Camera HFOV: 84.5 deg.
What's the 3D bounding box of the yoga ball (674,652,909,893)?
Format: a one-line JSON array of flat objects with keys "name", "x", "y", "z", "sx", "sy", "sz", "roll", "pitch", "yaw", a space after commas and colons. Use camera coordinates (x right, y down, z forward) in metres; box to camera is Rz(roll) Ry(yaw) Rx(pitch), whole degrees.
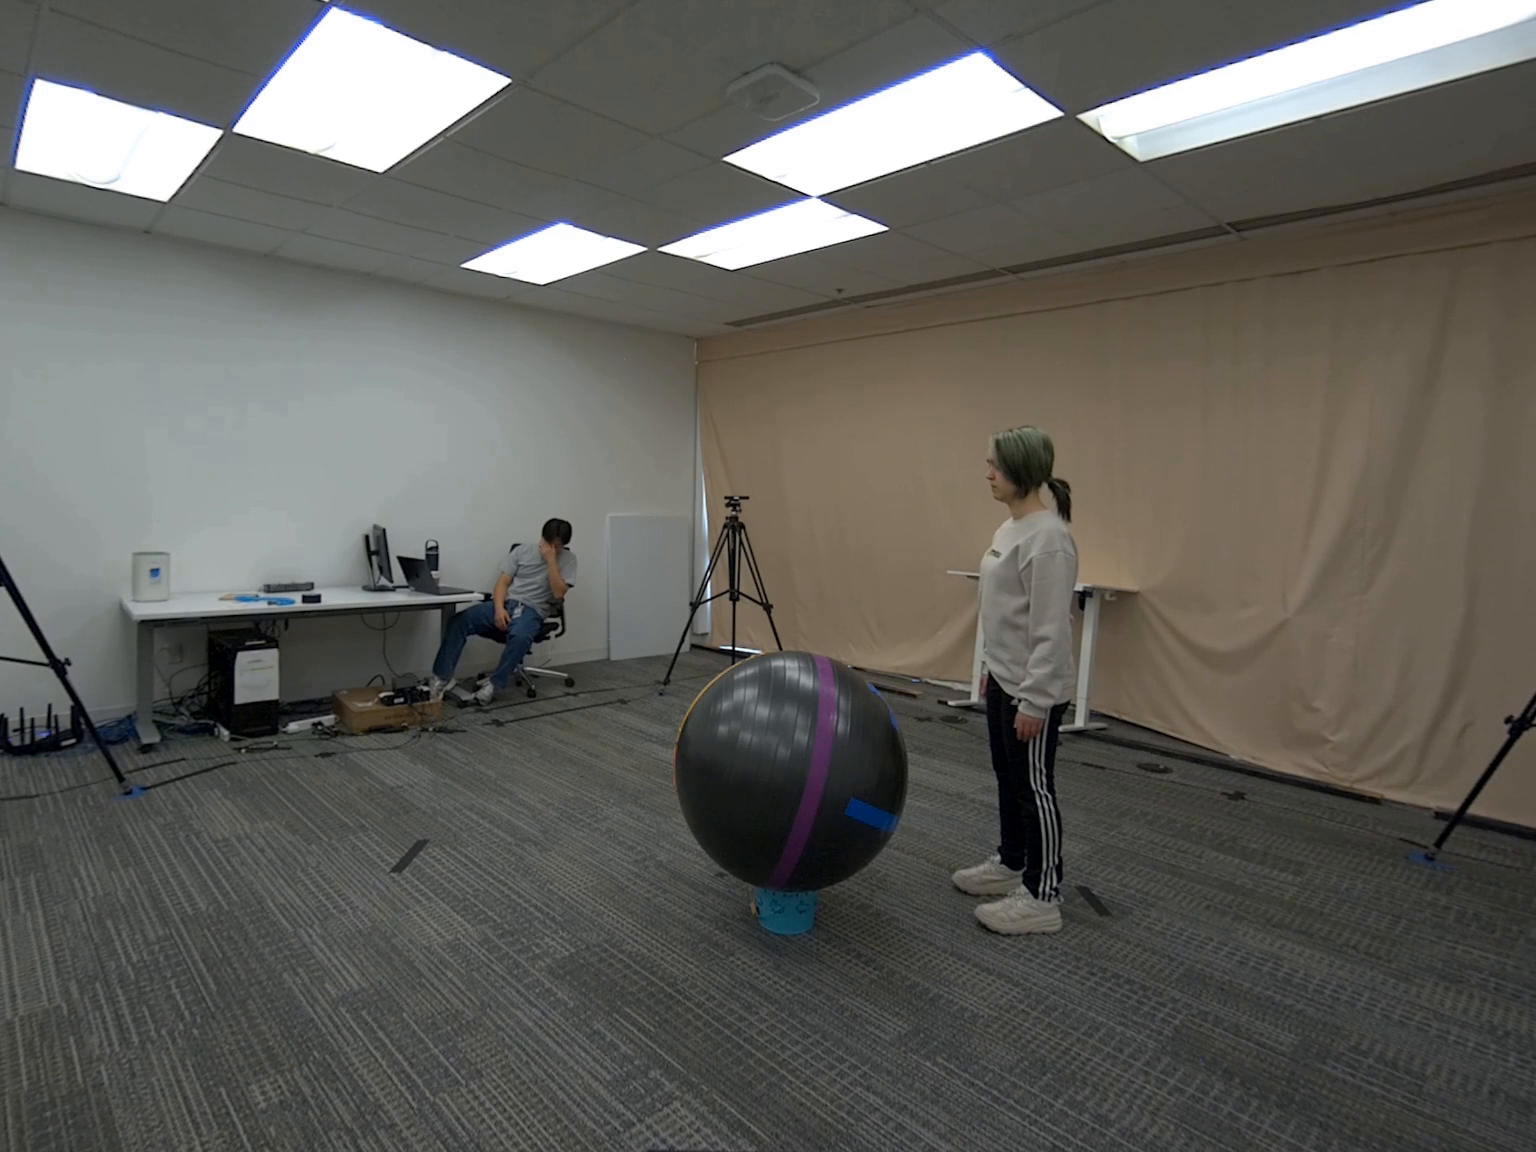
[{"name": "yoga ball", "x": 0.060, "y": 0.632, "z": 2.747, "sx": 0.757, "sy": 0.756, "sz": 0.761, "roll": 1, "pitch": 4, "yaw": -1}]
